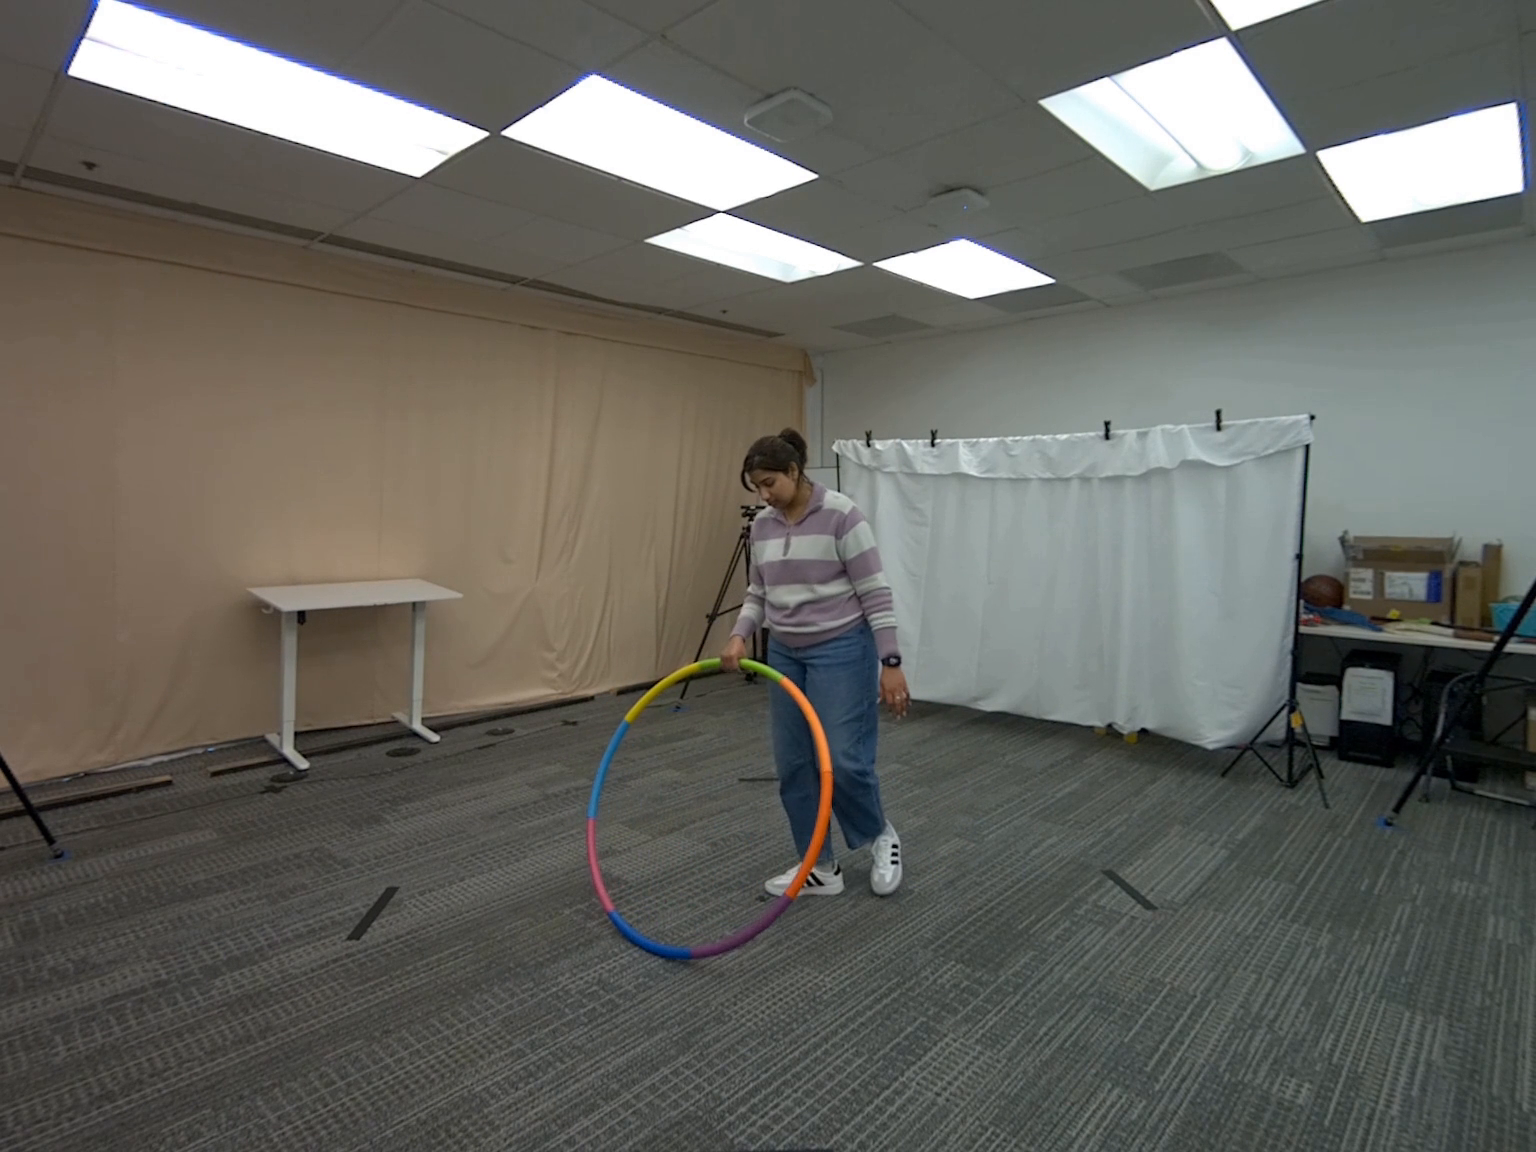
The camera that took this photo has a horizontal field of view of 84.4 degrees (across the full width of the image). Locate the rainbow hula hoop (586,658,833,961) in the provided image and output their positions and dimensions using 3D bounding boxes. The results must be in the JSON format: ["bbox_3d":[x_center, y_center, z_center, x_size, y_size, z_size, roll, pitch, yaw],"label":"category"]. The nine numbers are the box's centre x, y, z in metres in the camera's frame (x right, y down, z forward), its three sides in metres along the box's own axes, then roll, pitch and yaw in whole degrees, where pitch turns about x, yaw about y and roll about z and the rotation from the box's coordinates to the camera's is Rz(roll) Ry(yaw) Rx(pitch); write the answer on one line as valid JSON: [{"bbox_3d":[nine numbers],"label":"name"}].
[{"bbox_3d":[-0.230,0.734,2.798,1.018,0.989,0.050,3,-25,39],"label":"rainbow hula hoop"}]
